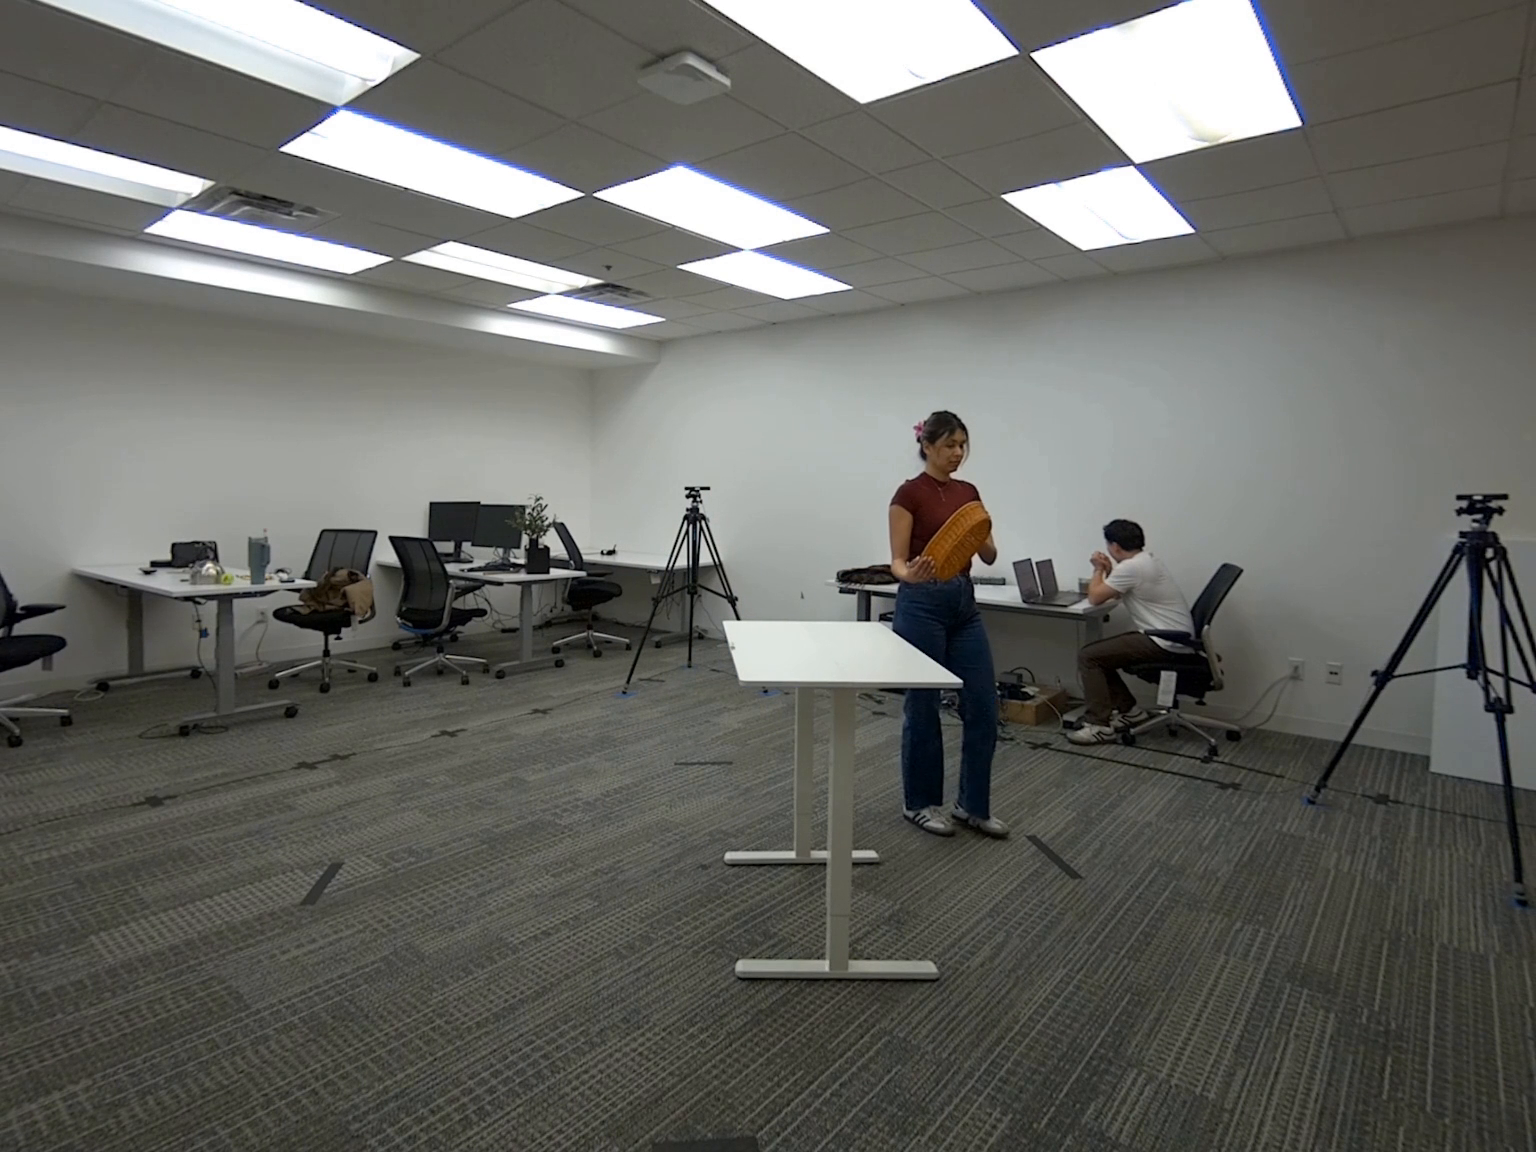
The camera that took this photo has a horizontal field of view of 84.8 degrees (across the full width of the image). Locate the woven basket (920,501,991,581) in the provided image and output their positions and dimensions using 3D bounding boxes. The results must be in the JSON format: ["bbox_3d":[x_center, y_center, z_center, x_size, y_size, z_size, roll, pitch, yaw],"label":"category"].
[{"bbox_3d":[0.699,-0.117,3.141,0.076,0.350,0.242,42,4,35],"label":"woven basket"}]
